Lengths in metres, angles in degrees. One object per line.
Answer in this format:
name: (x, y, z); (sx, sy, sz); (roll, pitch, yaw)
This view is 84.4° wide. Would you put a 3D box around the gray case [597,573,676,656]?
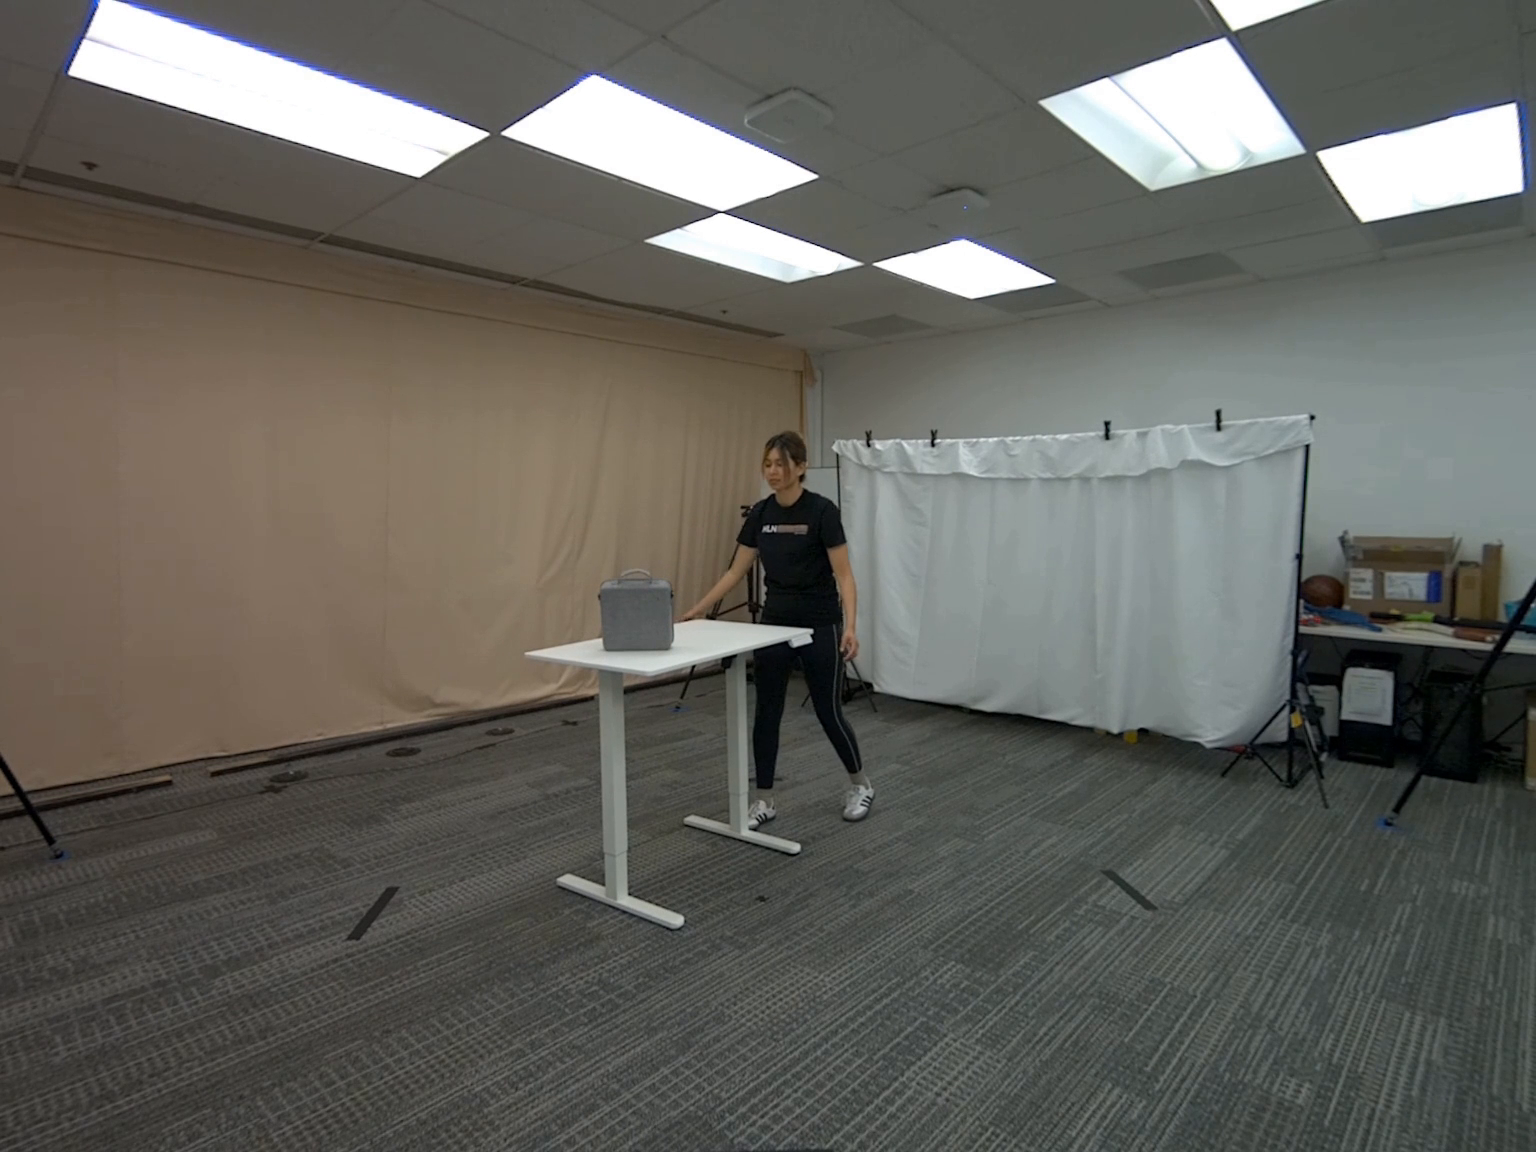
gray case: (-0.461, 0.132, 2.984); (0.256, 0.258, 0.105); (-2, 13, -2)
